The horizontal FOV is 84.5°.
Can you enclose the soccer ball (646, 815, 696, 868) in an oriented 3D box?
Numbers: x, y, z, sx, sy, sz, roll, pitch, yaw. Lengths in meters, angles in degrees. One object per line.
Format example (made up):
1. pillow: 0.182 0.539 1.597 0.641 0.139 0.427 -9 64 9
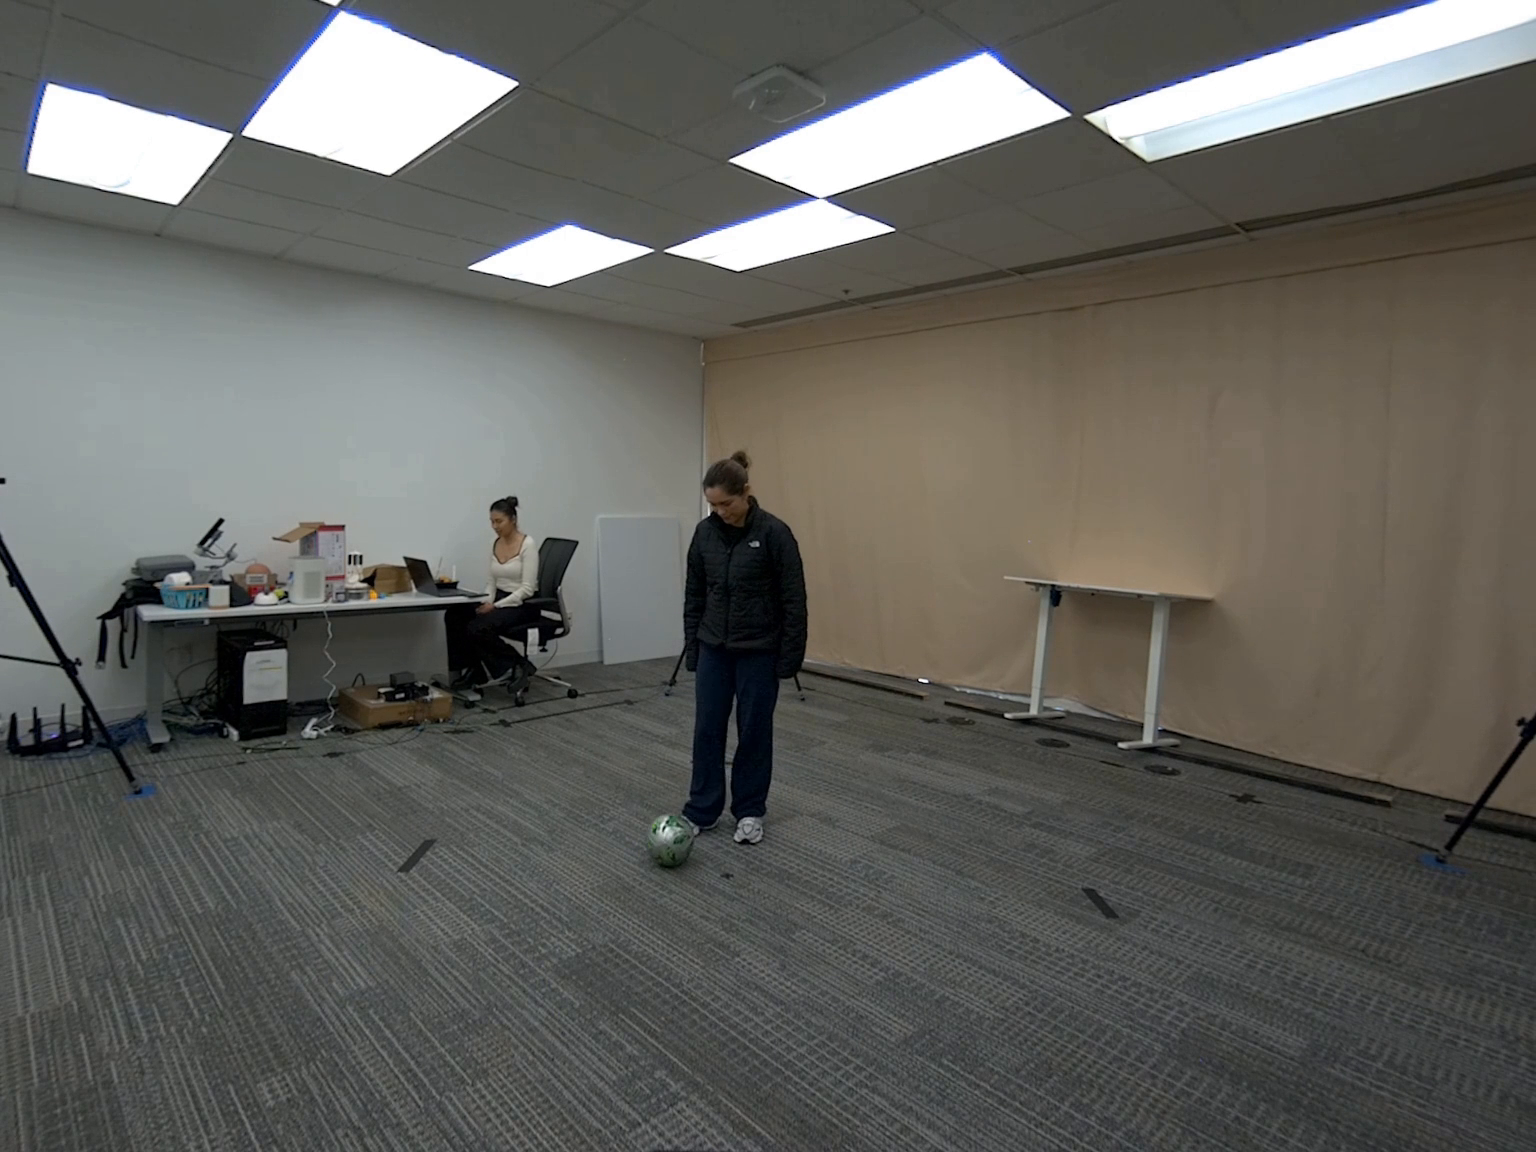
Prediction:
1. soccer ball: -0.377 1.000 3.193 0.187 0.187 0.188 1 4 -1
